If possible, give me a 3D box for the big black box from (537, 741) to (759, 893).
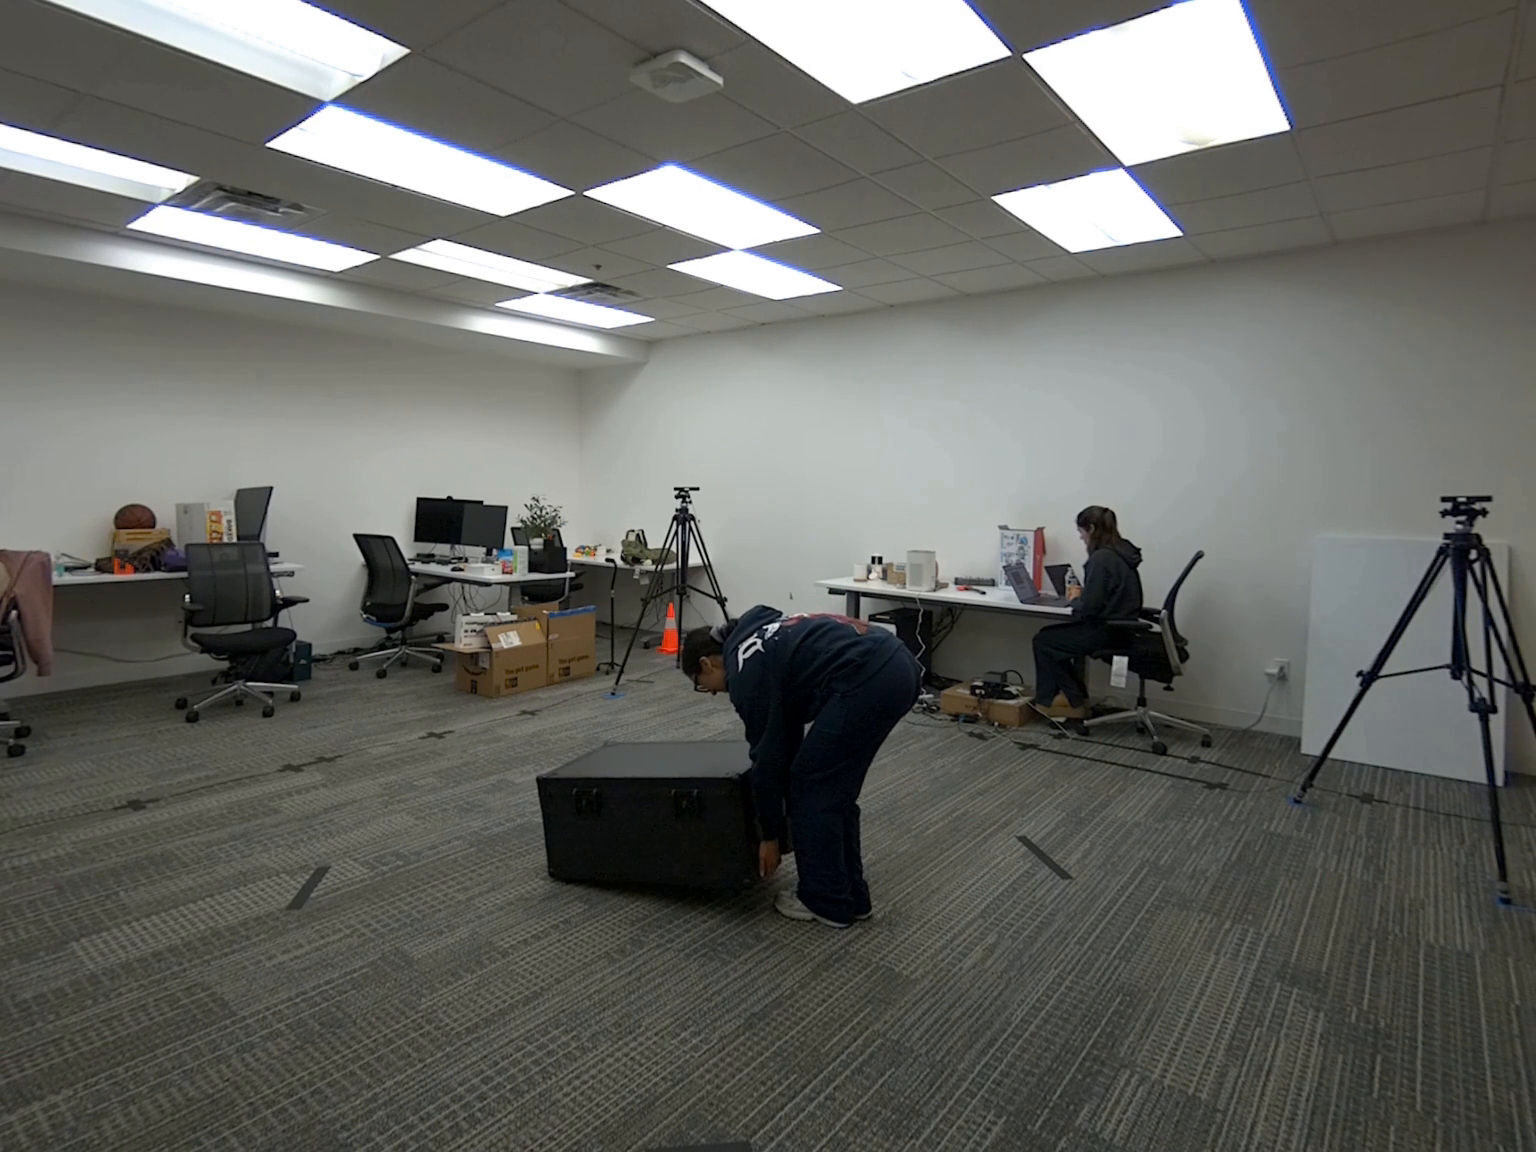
[{"bbox_3d":[-0.393,0.838,3.066,0.880,0.396,0.511,-5,2,23],"label":"big black box"}]
